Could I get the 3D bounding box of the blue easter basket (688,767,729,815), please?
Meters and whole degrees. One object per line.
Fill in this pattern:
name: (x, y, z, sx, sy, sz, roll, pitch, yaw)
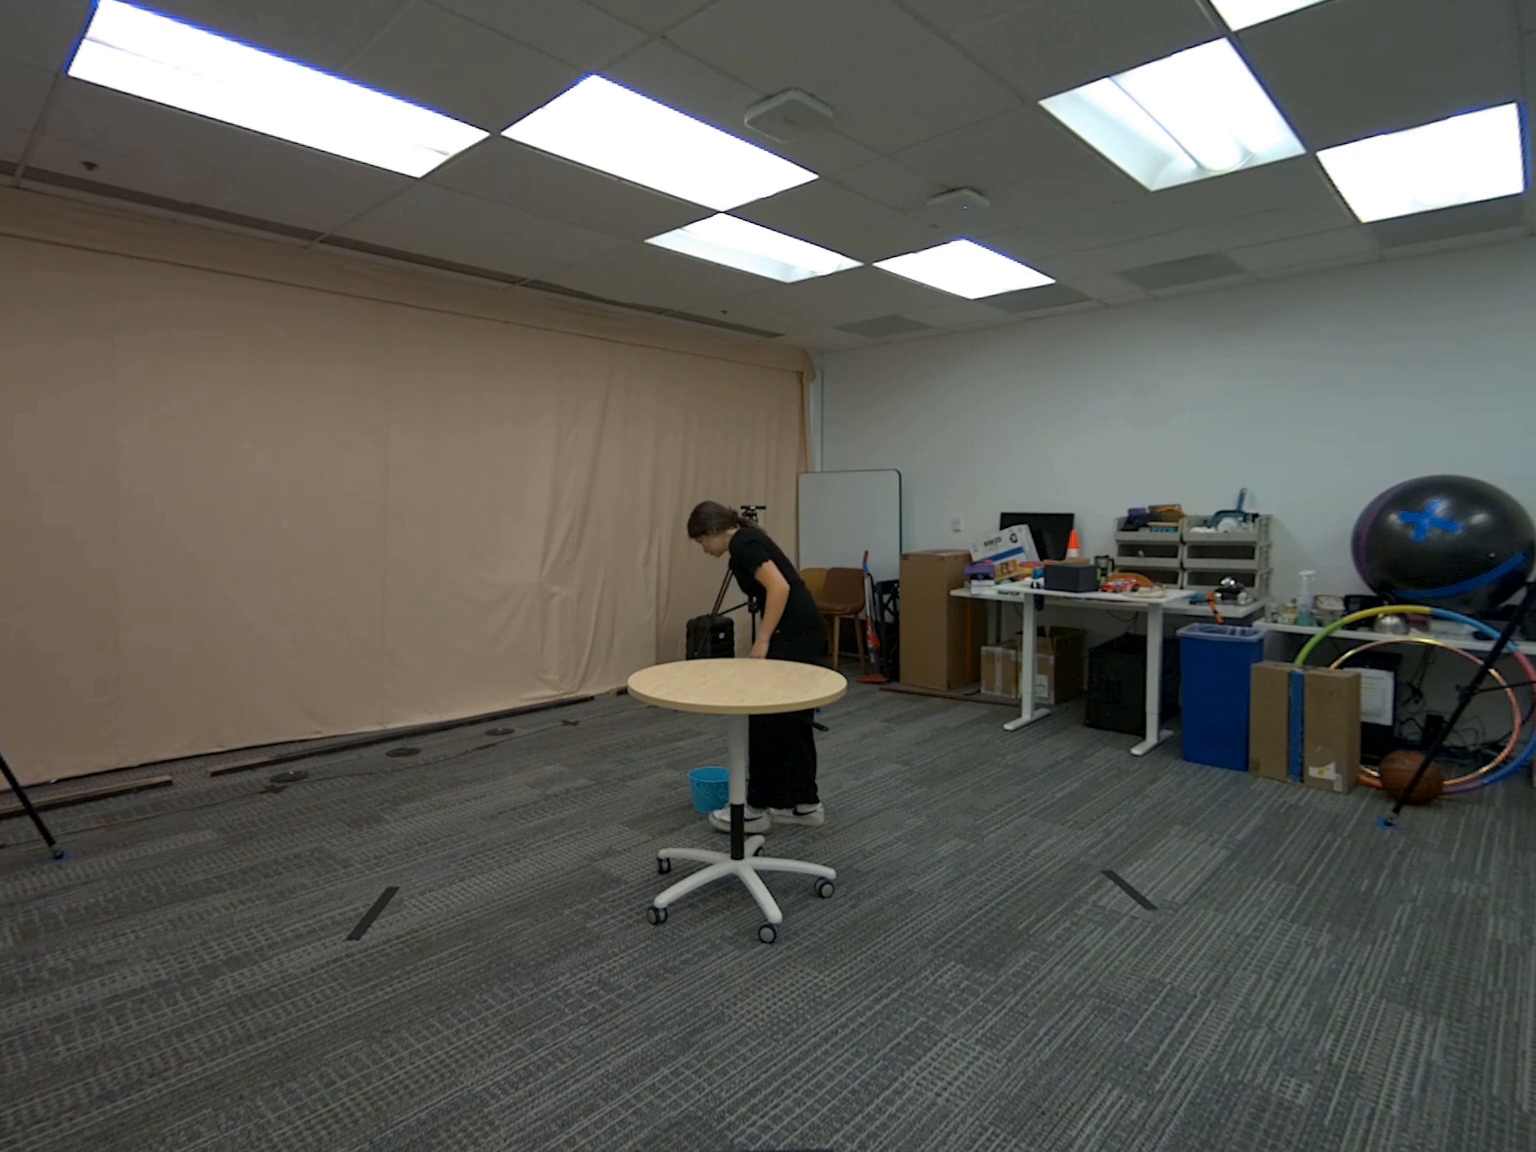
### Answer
blue easter basket: (-0.260, 0.992, 3.903, 0.243, 0.155, 0.244, -1, 4, -2)
